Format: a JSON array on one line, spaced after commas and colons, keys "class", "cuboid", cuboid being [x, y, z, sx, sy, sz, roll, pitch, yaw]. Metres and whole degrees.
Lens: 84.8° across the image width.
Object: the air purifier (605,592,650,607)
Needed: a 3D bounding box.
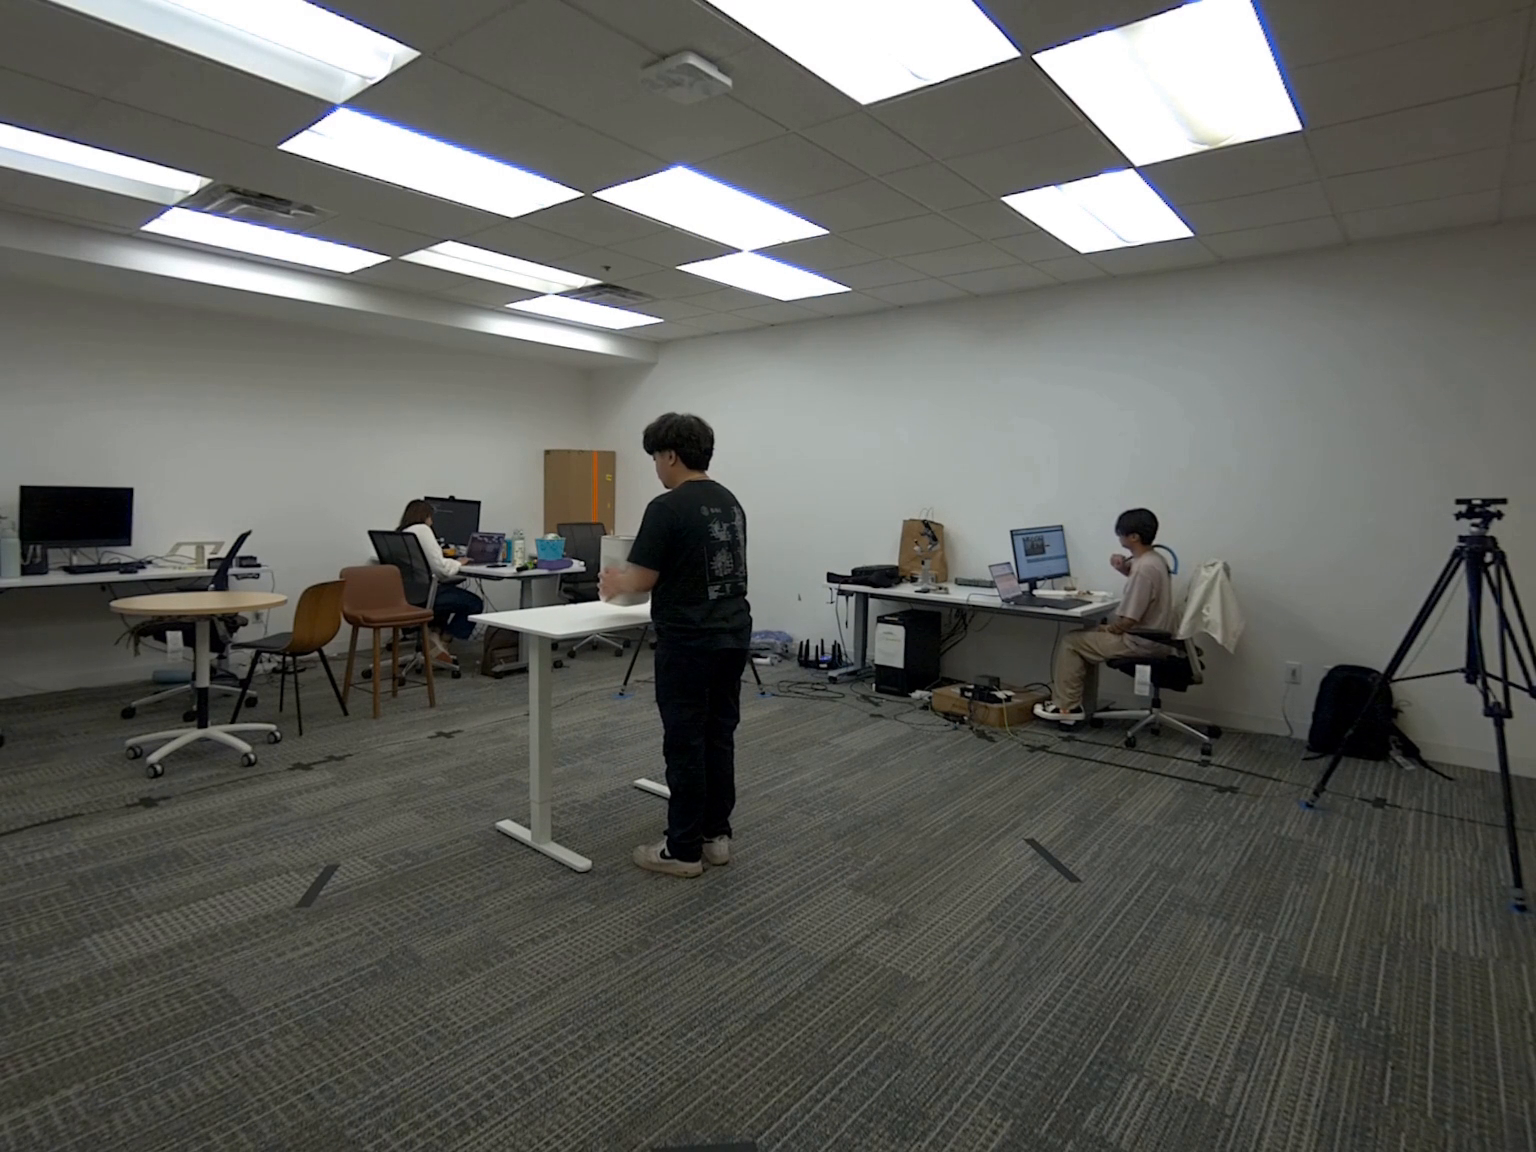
[{"class": "air purifier", "cuboid": [-0.573, -0.026, 3.358, 0.177, 0.264, 0.166, 6, 5, 36]}]
